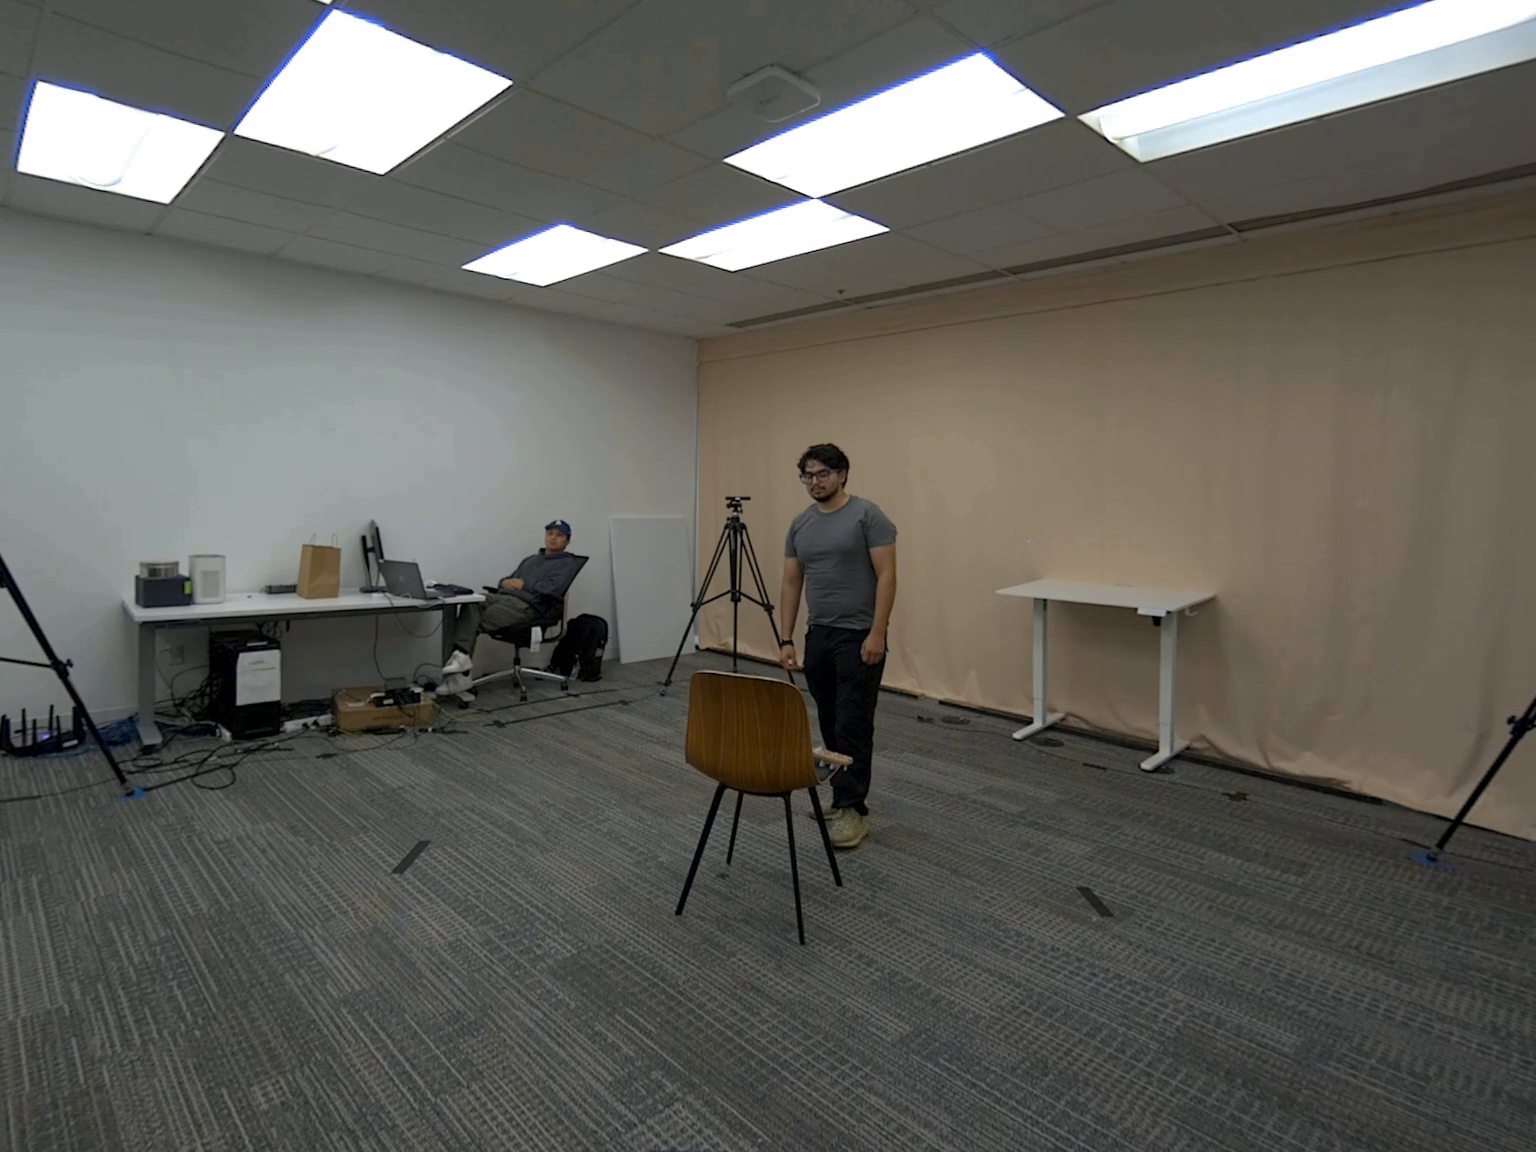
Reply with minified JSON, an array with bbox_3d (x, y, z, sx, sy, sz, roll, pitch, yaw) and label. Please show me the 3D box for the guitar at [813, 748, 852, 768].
[{"bbox_3d":[0.040,0.617,2.928,0.188,0.070,0.511,-2,9,-45],"label":"guitar"}]
